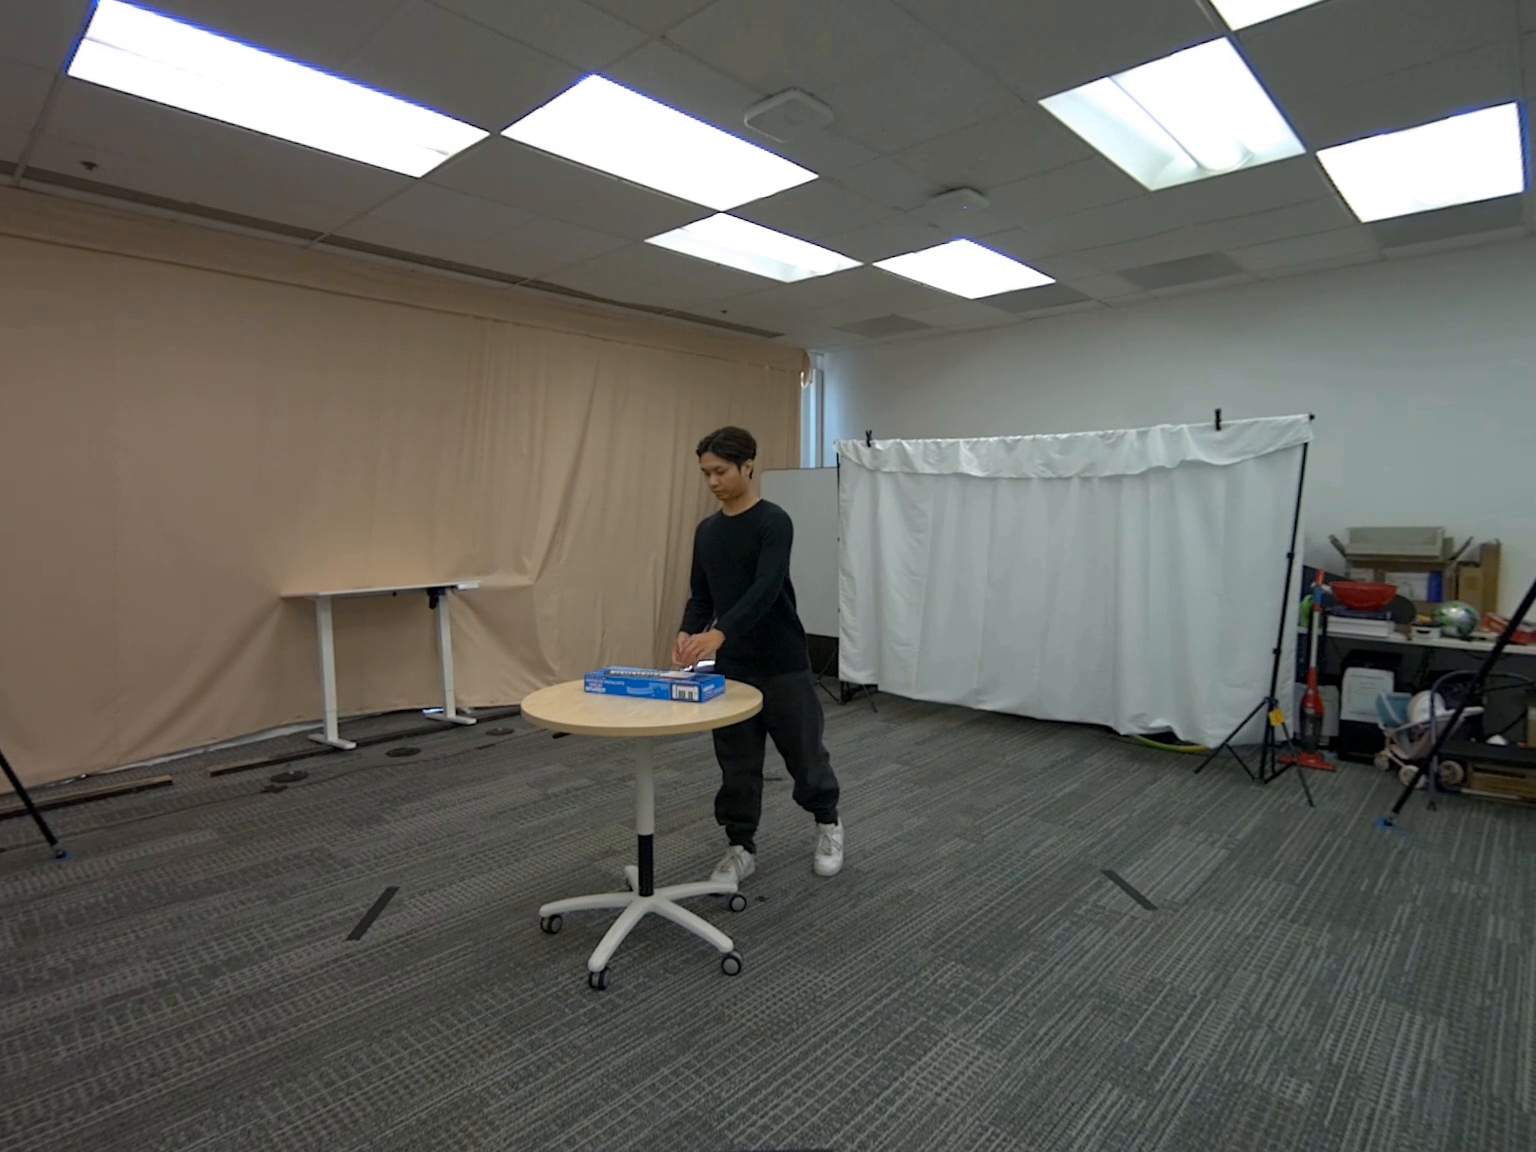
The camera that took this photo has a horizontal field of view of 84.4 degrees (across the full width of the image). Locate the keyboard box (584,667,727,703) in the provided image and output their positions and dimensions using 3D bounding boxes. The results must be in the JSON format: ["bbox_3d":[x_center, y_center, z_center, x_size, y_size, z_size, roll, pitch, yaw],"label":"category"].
[{"bbox_3d":[-0.376,0.354,2.759,0.448,0.059,0.172,2,4,26],"label":"keyboard box"}]
